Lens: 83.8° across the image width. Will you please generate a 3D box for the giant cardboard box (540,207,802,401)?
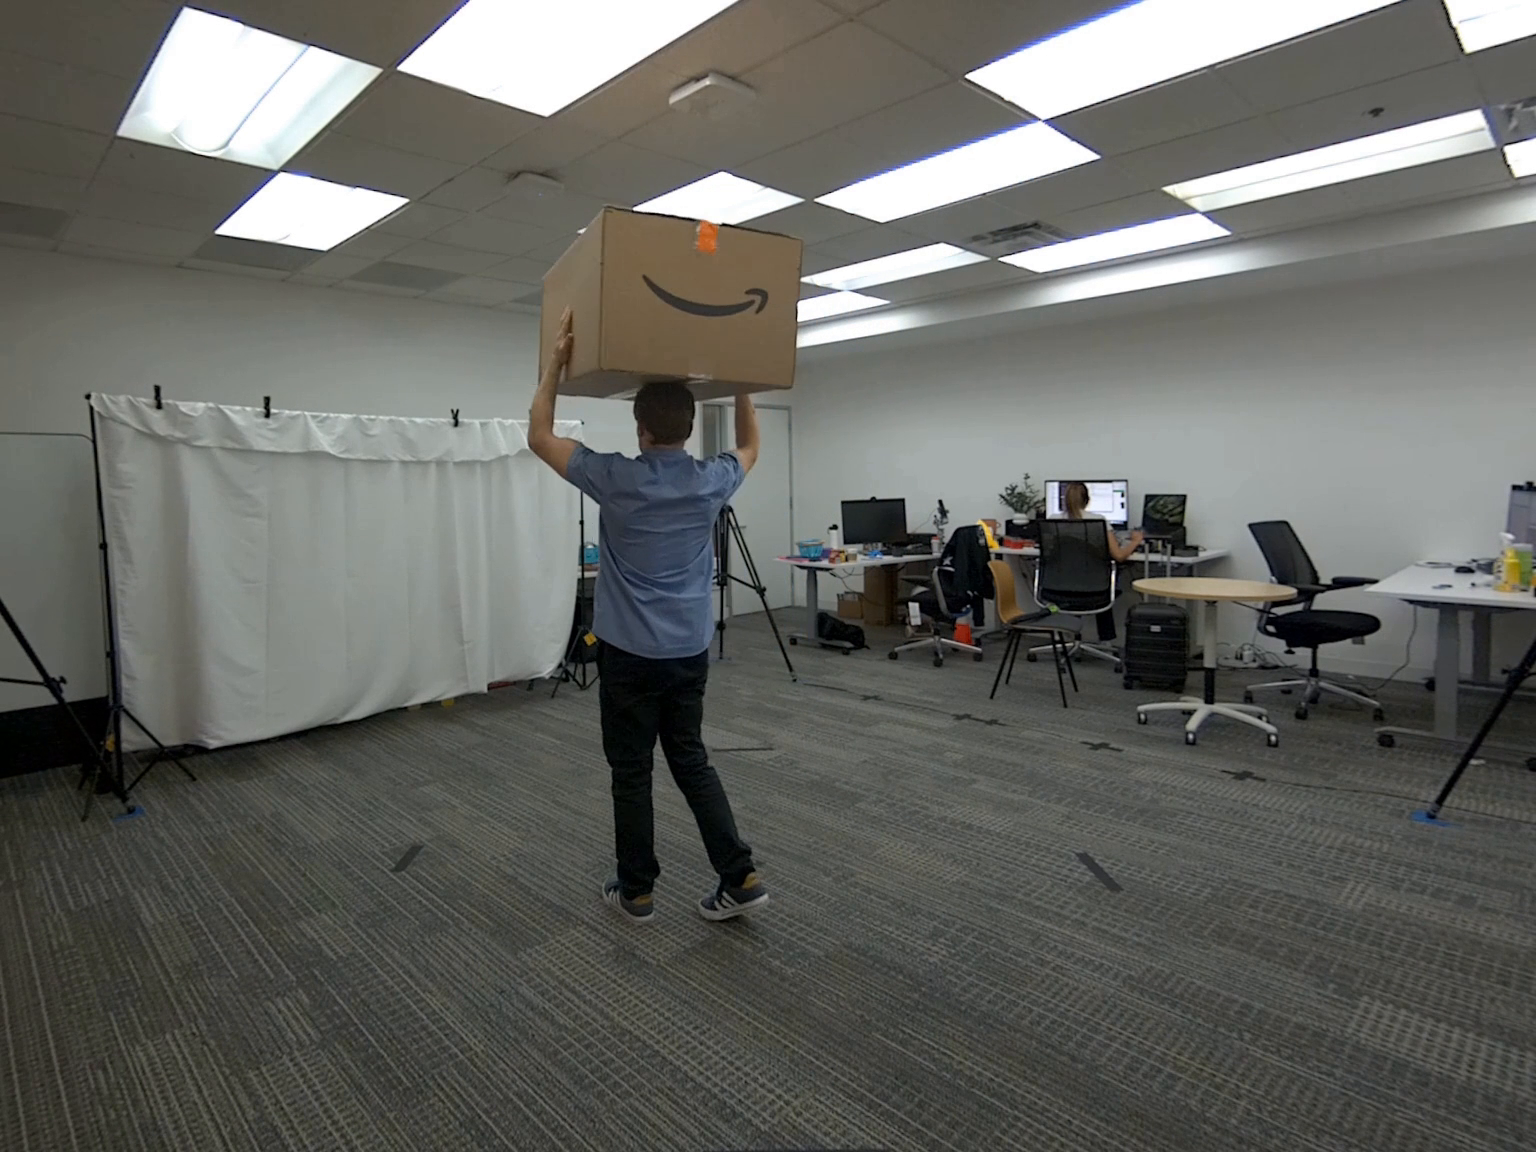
[{"bbox_3d":[-0.375,-0.820,2.804,0.565,0.424,1.052,1,7,-23],"label":"giant cardboard box"}]
